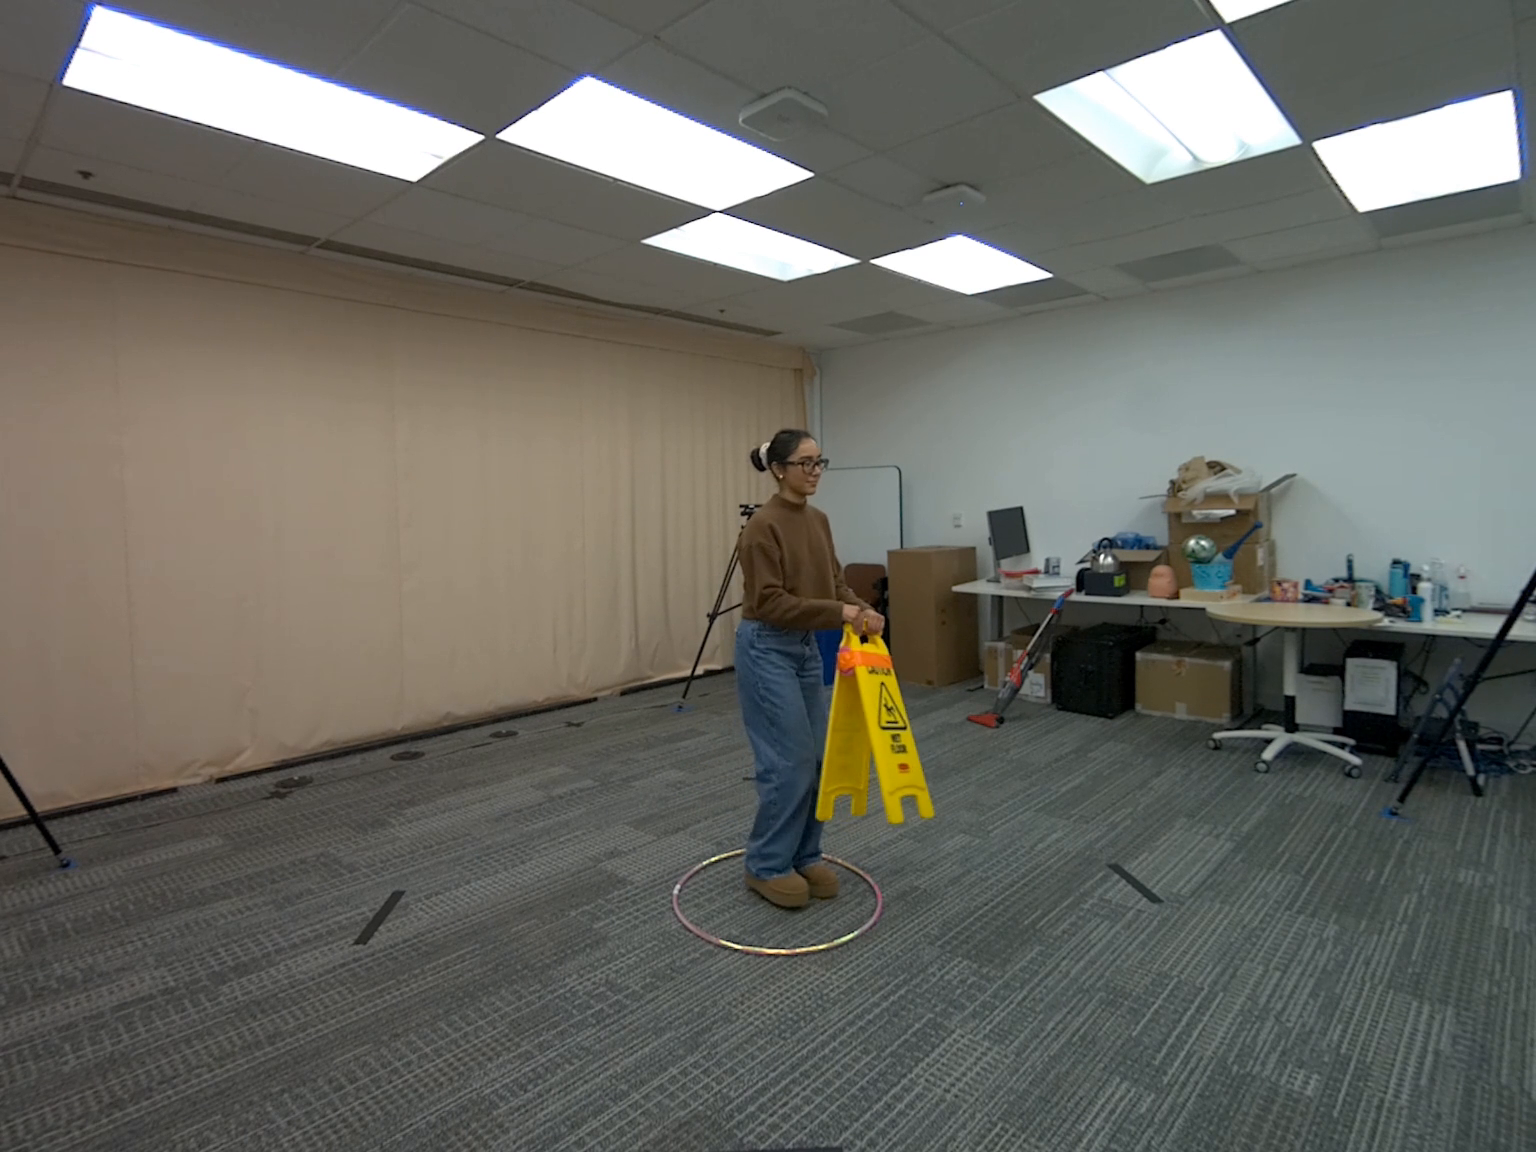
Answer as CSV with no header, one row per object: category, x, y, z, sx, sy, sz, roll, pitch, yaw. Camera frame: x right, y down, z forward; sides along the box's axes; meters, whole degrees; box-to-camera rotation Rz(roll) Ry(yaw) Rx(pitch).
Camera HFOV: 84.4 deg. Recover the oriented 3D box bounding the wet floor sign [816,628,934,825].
wet floor sign,0.335,0.466,2.804,0.298,0.651,0.272,-12,-15,39
